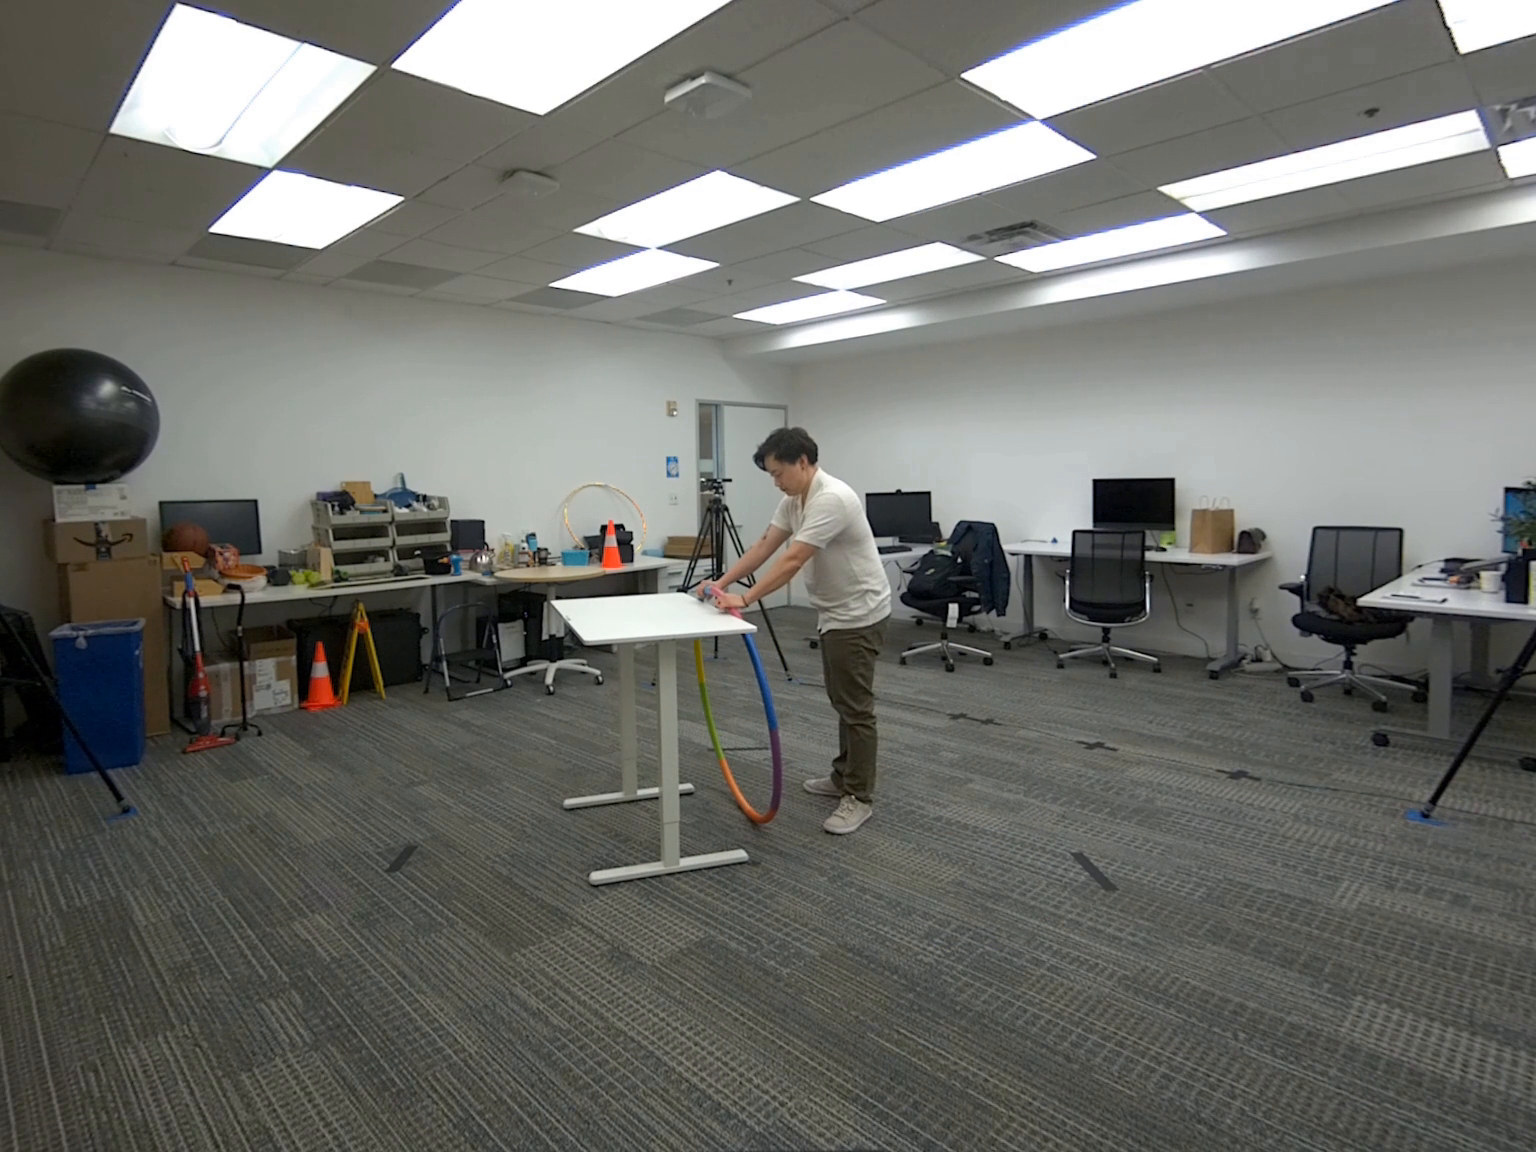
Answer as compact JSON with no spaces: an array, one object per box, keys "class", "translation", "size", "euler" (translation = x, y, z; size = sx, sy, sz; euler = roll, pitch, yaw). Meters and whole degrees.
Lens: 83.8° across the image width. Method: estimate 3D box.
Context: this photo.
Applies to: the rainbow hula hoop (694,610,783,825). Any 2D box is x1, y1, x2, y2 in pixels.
[{"class":"rainbow hula hoop","translation":[-0.137,0.519,3.521],"size":[0.035,0.973,0.998],"euler":[-9,7,-18]}]
